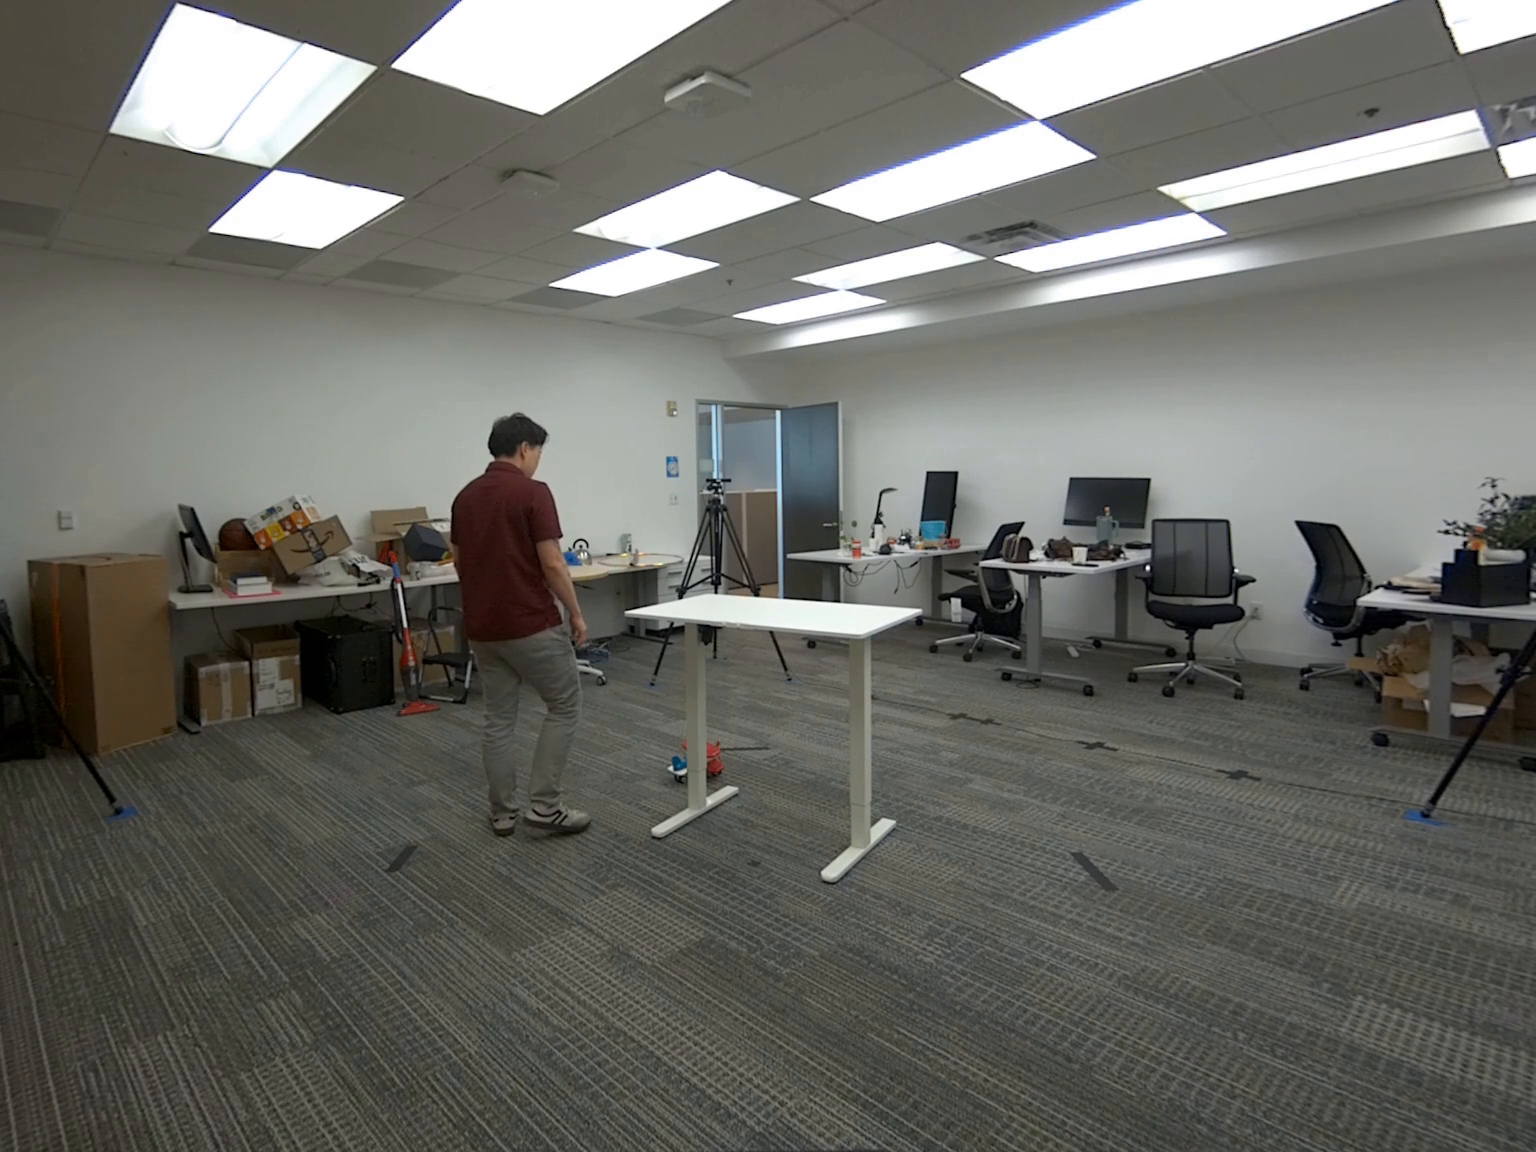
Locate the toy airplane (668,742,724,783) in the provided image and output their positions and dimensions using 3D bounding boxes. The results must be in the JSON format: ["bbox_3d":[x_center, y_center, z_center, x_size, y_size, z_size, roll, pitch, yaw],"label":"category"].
[{"bbox_3d":[-0.326,0.878,4.012,0.257,0.156,0.254,1,5,23],"label":"toy airplane"}]
